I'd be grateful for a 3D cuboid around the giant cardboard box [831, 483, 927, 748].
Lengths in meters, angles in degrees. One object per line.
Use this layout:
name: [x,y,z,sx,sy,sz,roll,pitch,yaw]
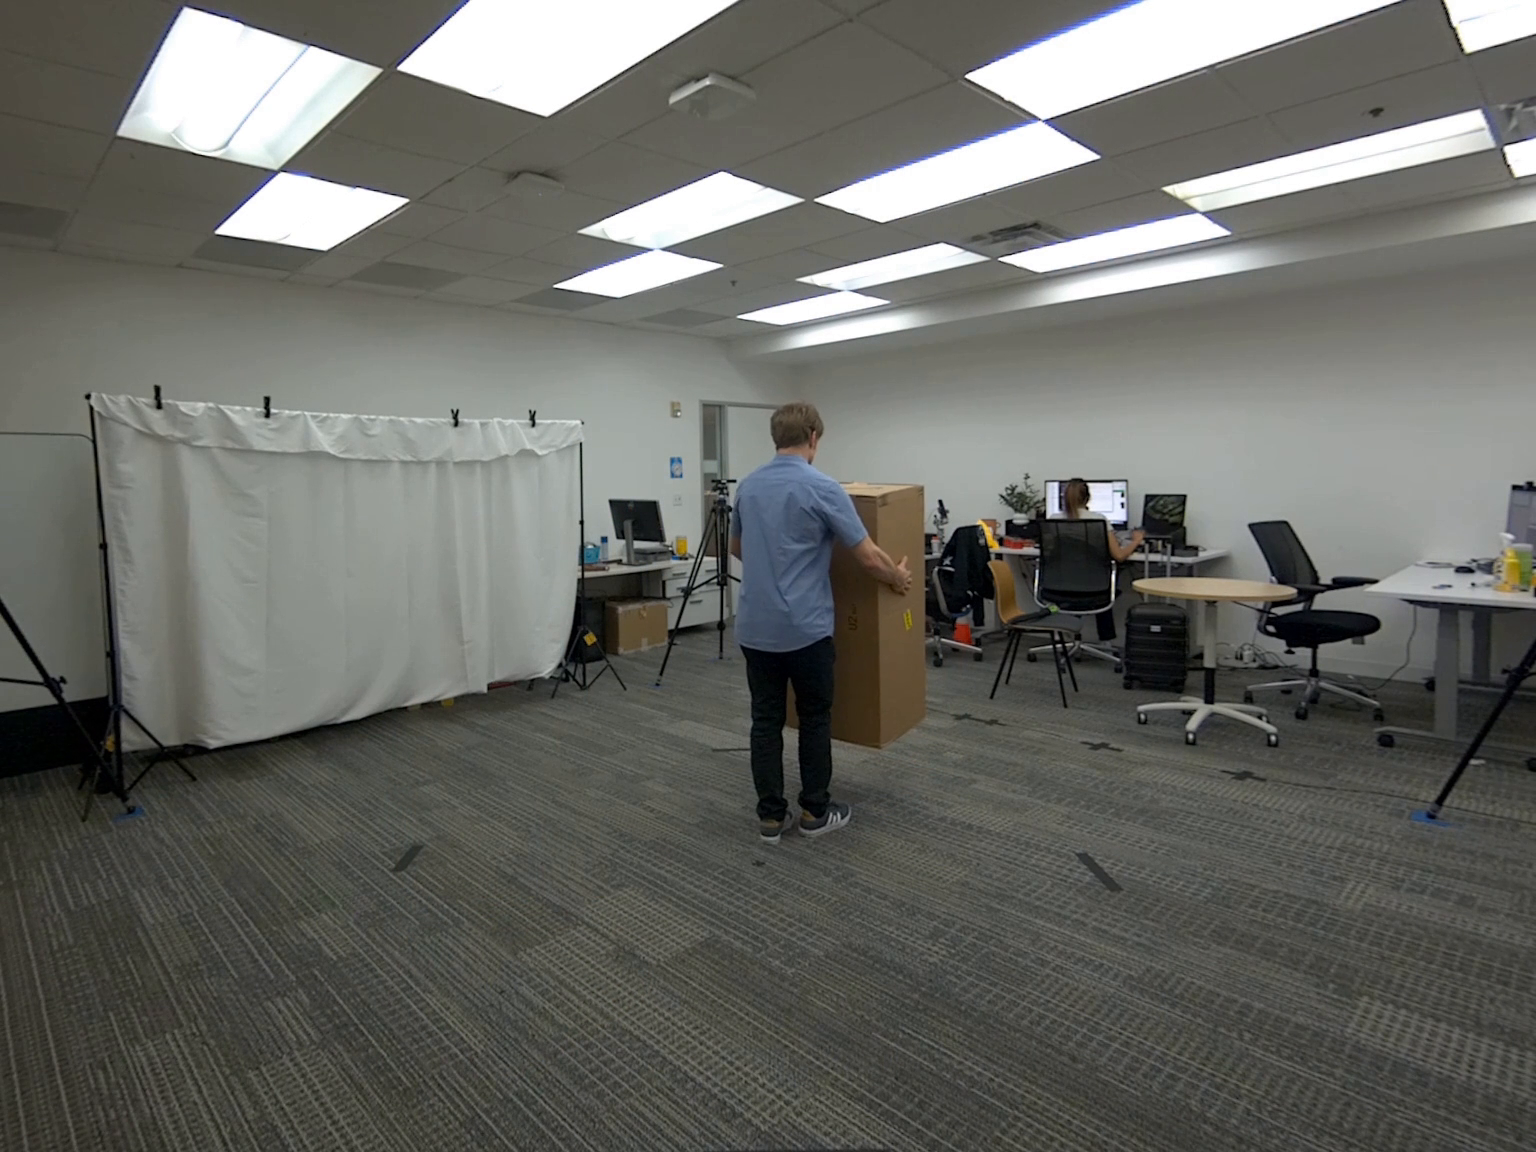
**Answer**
giant cardboard box: [0.325,0.133,3.670,0.595,1.018,0.417,5,11,38]
